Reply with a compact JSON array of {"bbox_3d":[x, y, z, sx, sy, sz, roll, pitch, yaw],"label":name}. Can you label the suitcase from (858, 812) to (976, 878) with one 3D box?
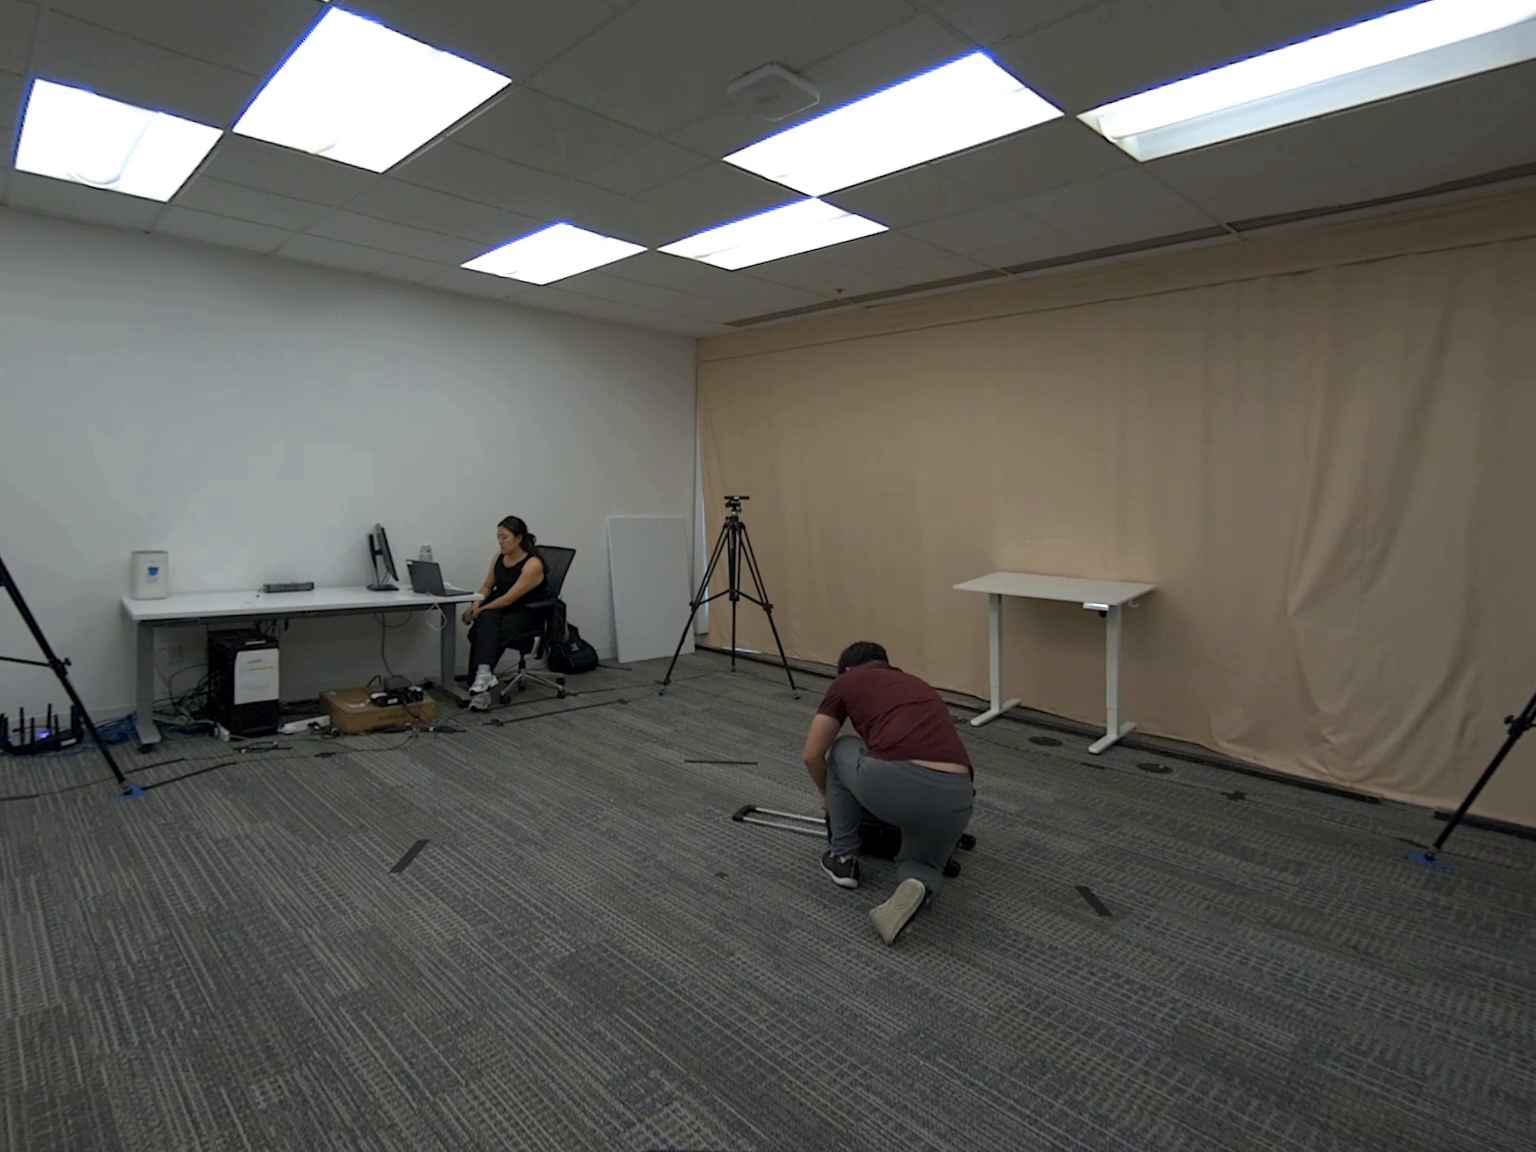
[{"bbox_3d":[0.332,0.964,3.480,0.997,0.256,0.378,3,7,25],"label":"suitcase"}]
